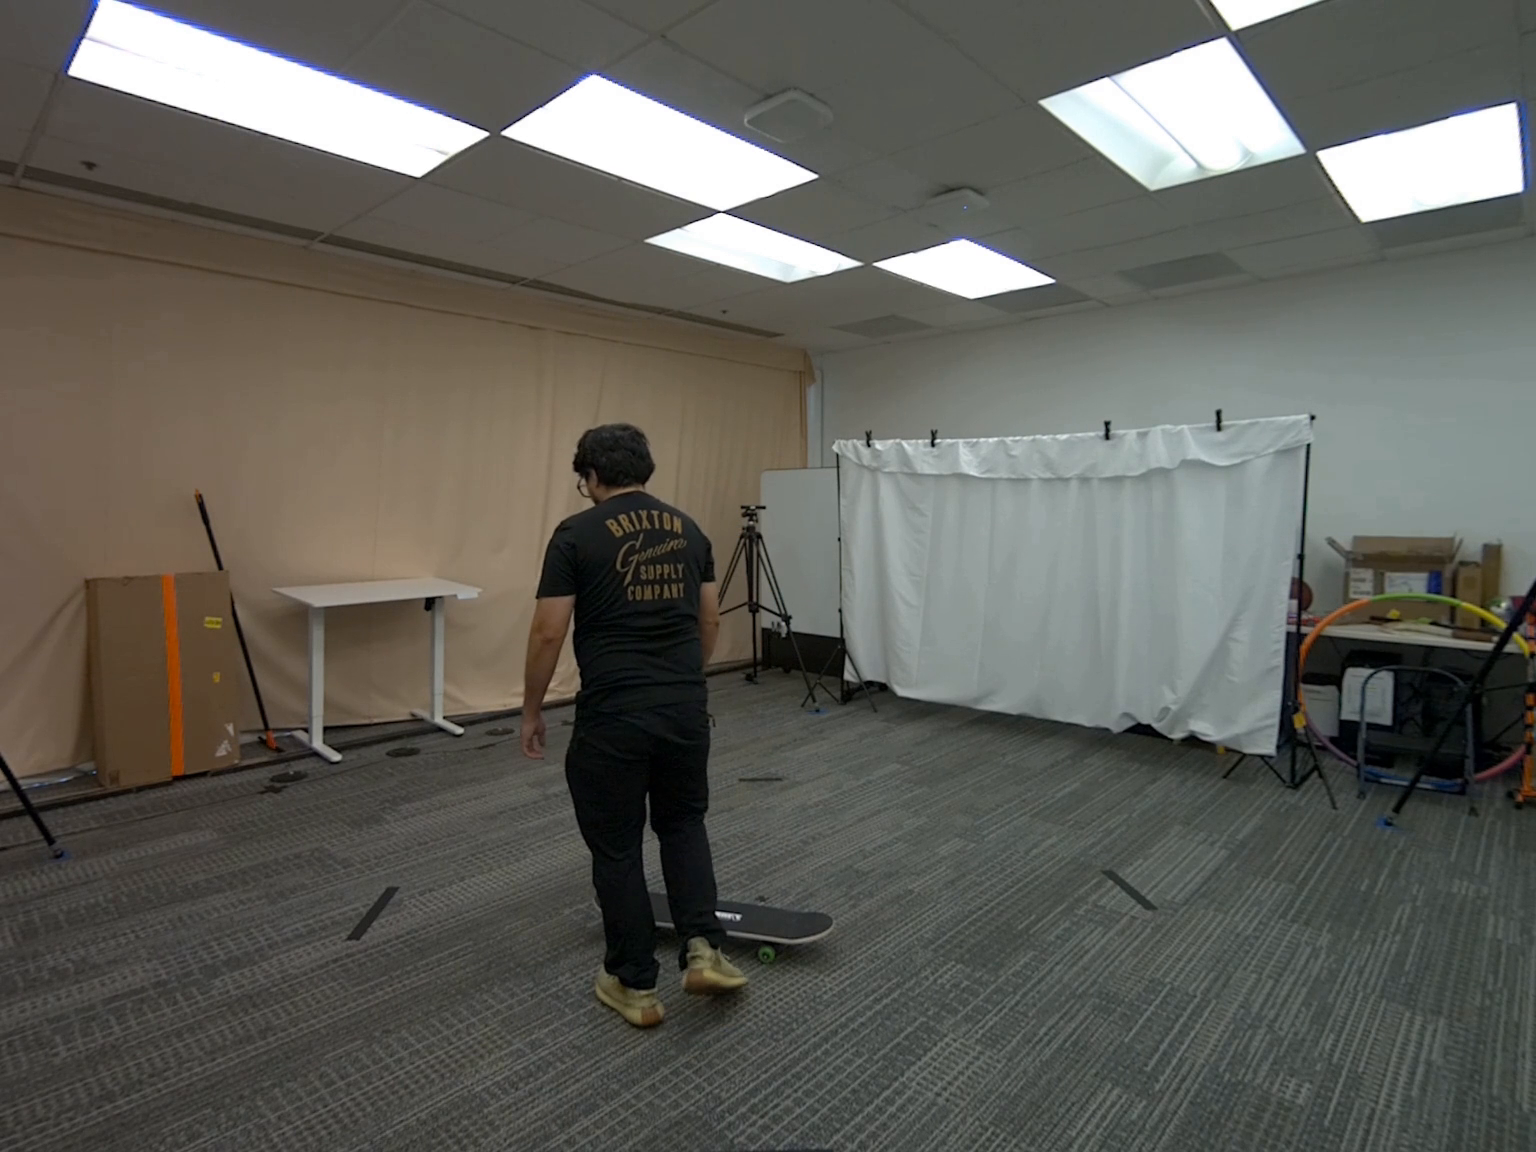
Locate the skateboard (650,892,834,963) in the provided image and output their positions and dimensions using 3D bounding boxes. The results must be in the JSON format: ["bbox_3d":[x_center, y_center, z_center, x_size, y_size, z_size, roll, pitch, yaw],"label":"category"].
[{"bbox_3d":[-0.183,1.109,2.694,0.798,0.110,0.191,0,4,15],"label":"skateboard"}]
